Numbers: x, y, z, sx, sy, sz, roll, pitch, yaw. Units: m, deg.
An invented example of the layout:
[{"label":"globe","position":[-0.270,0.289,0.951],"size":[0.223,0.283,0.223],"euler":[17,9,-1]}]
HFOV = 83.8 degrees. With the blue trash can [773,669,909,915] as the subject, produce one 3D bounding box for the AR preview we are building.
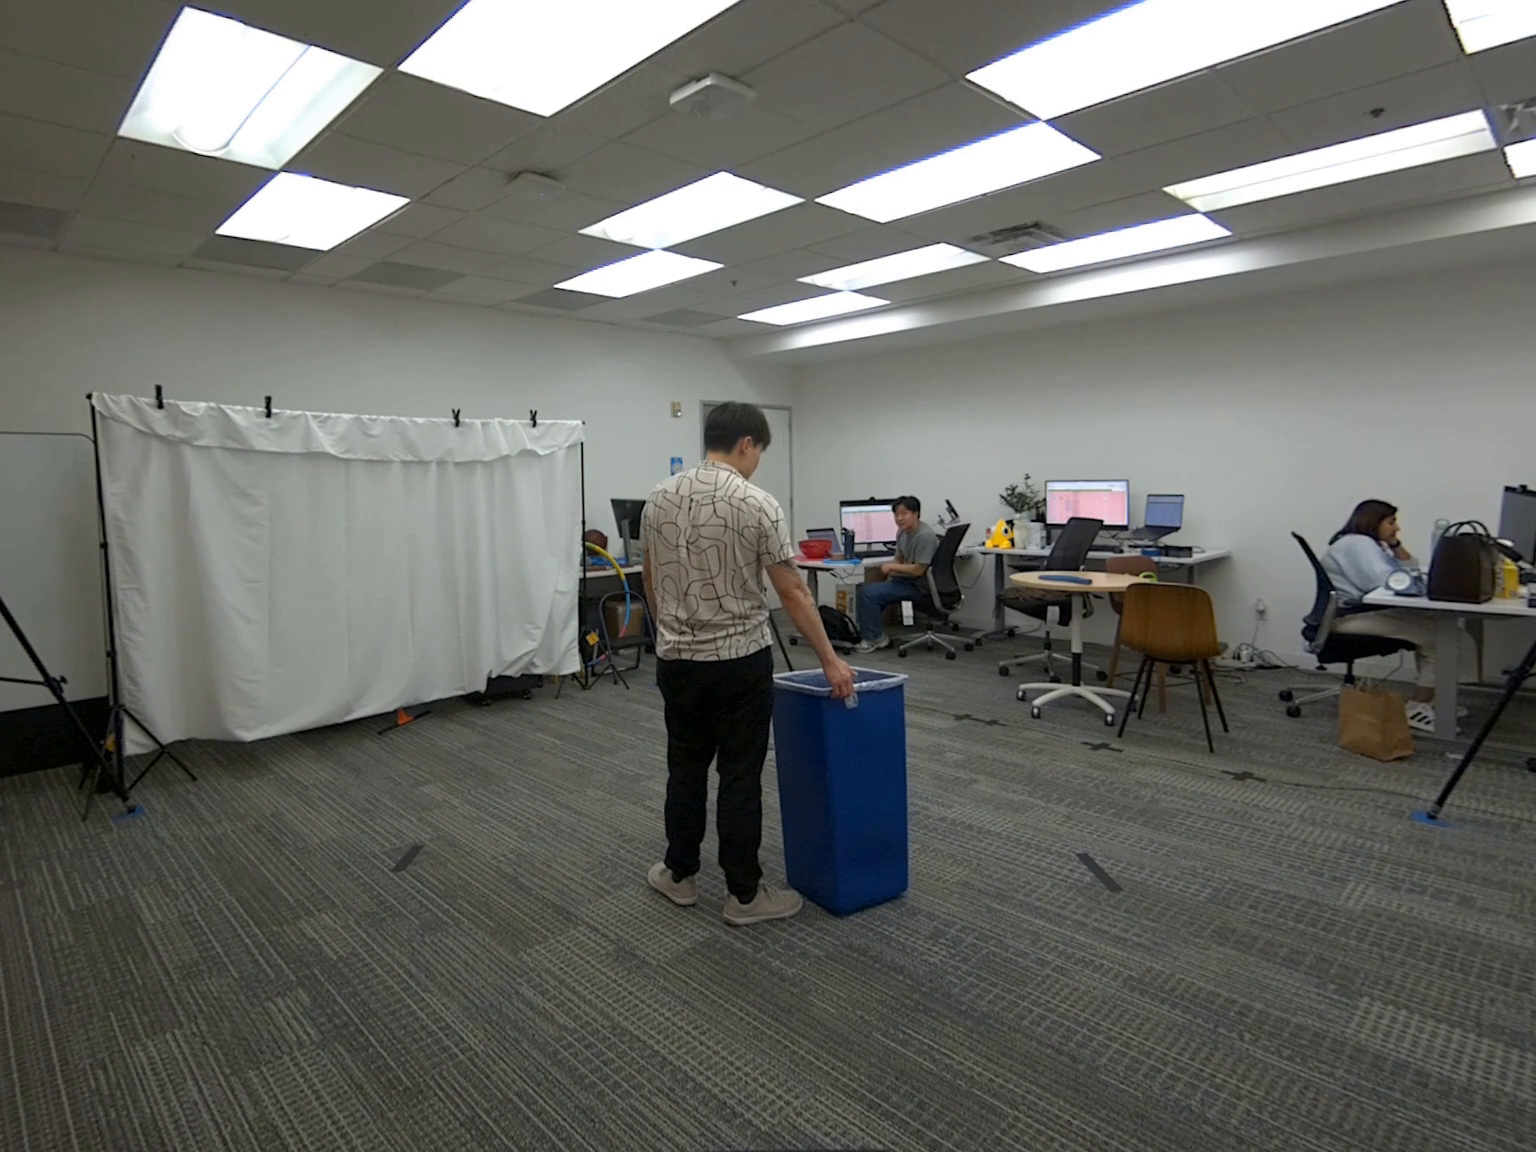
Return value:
[{"label":"blue trash can","position":[0.243,0.698,2.912],"size":[0.369,0.714,0.383],"euler":[-3,0,-30]}]
